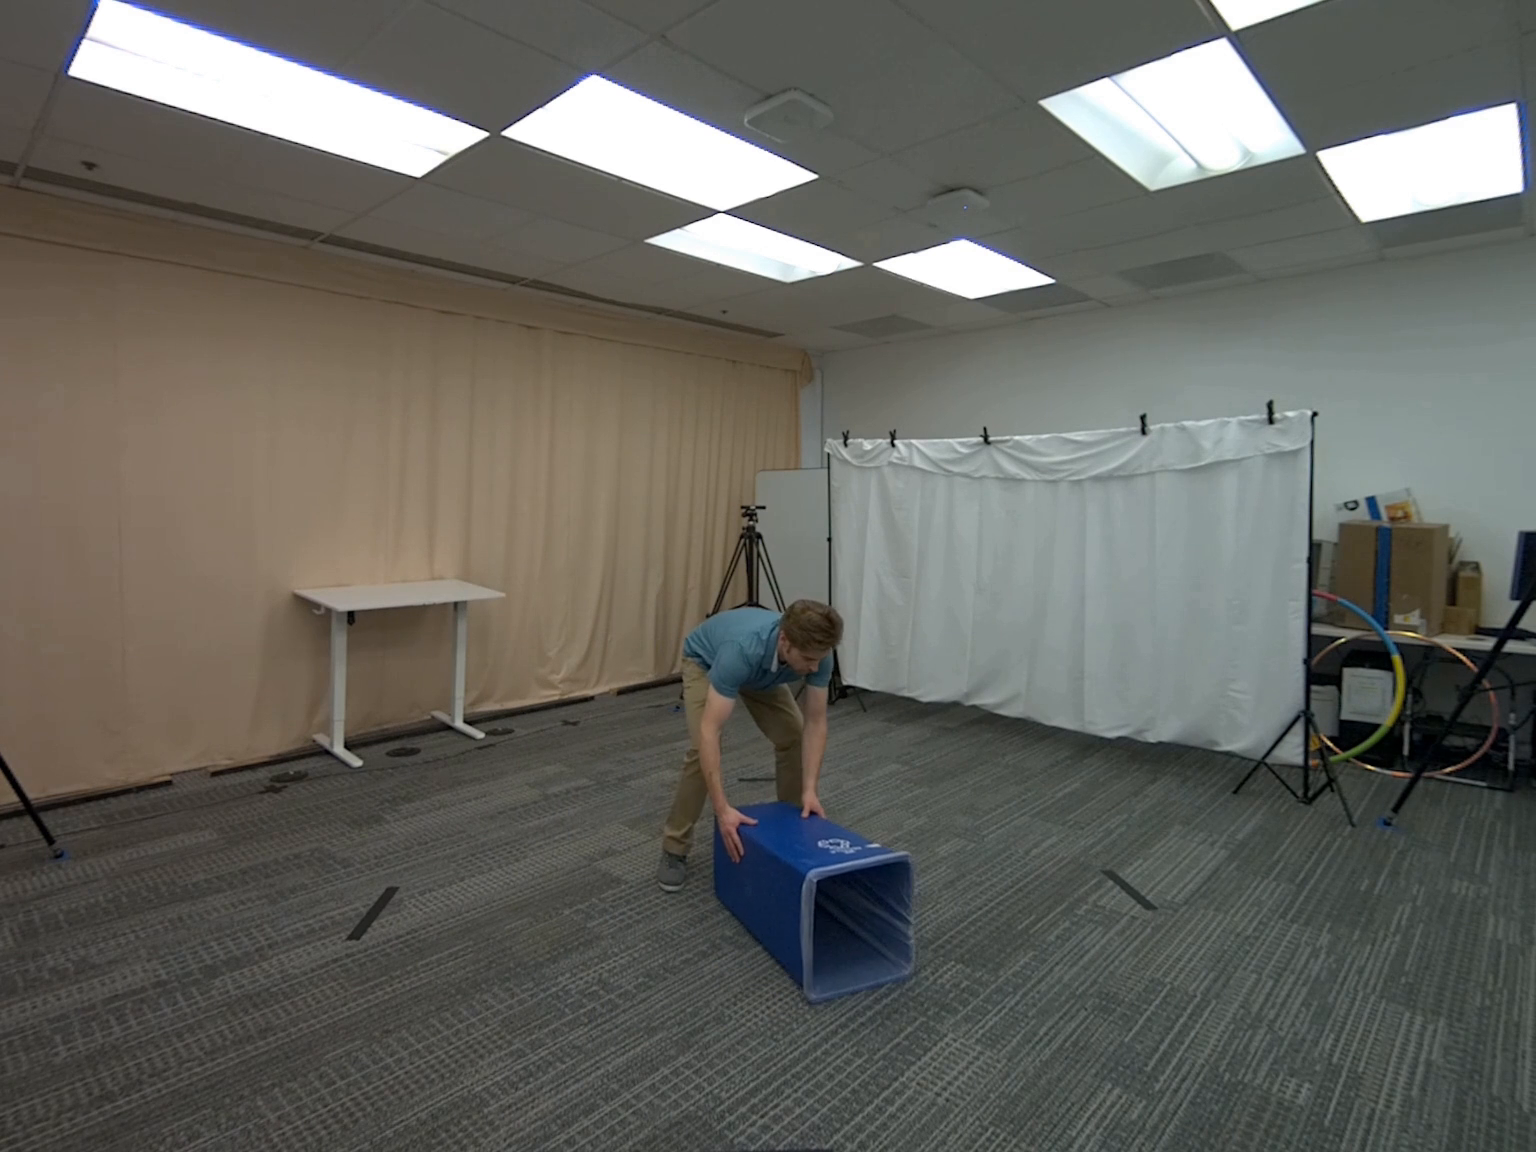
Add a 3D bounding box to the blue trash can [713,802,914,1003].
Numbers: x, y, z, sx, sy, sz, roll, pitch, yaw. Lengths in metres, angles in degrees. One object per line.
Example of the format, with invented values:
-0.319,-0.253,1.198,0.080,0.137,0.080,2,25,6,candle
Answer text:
0.109,0.998,2.731,0.364,0.378,0.732,0,1,-28,blue trash can
